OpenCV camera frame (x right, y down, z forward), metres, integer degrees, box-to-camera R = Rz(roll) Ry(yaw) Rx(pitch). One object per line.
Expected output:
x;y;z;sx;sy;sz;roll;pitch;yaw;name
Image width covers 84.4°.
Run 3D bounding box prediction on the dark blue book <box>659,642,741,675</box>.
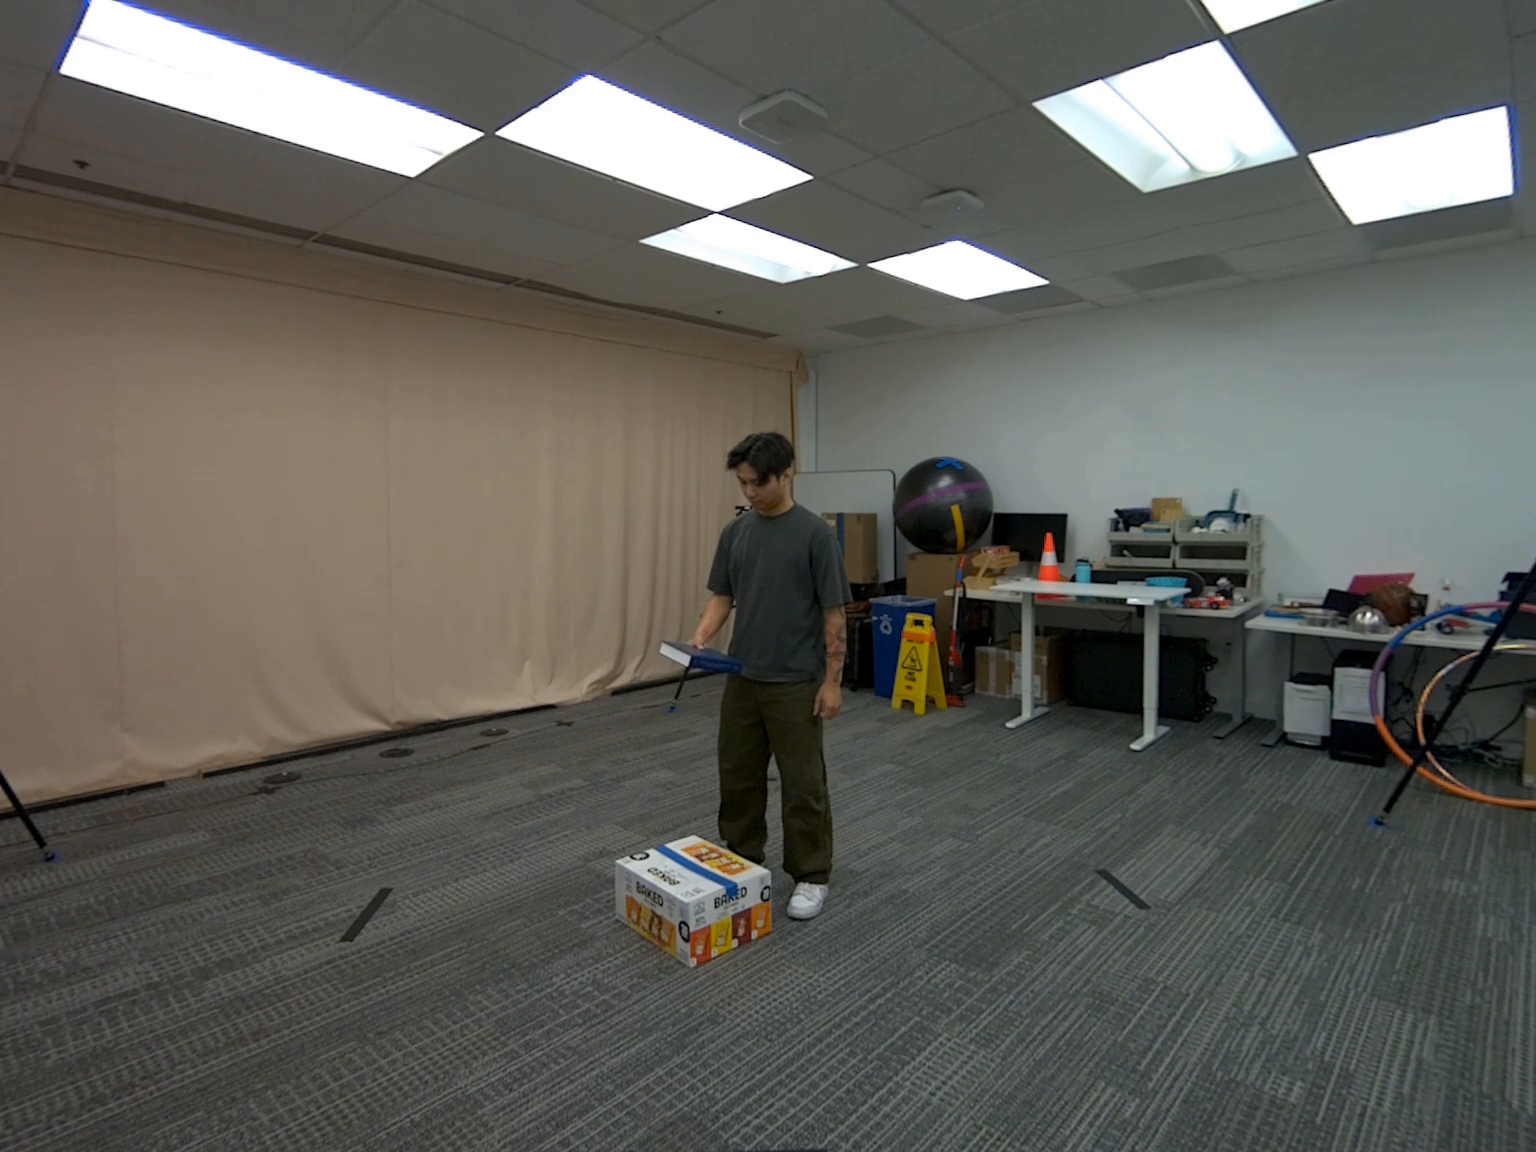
-0.224;0.278;2.831;0.236;0.045;0.169;14;4;-44;dark blue book
